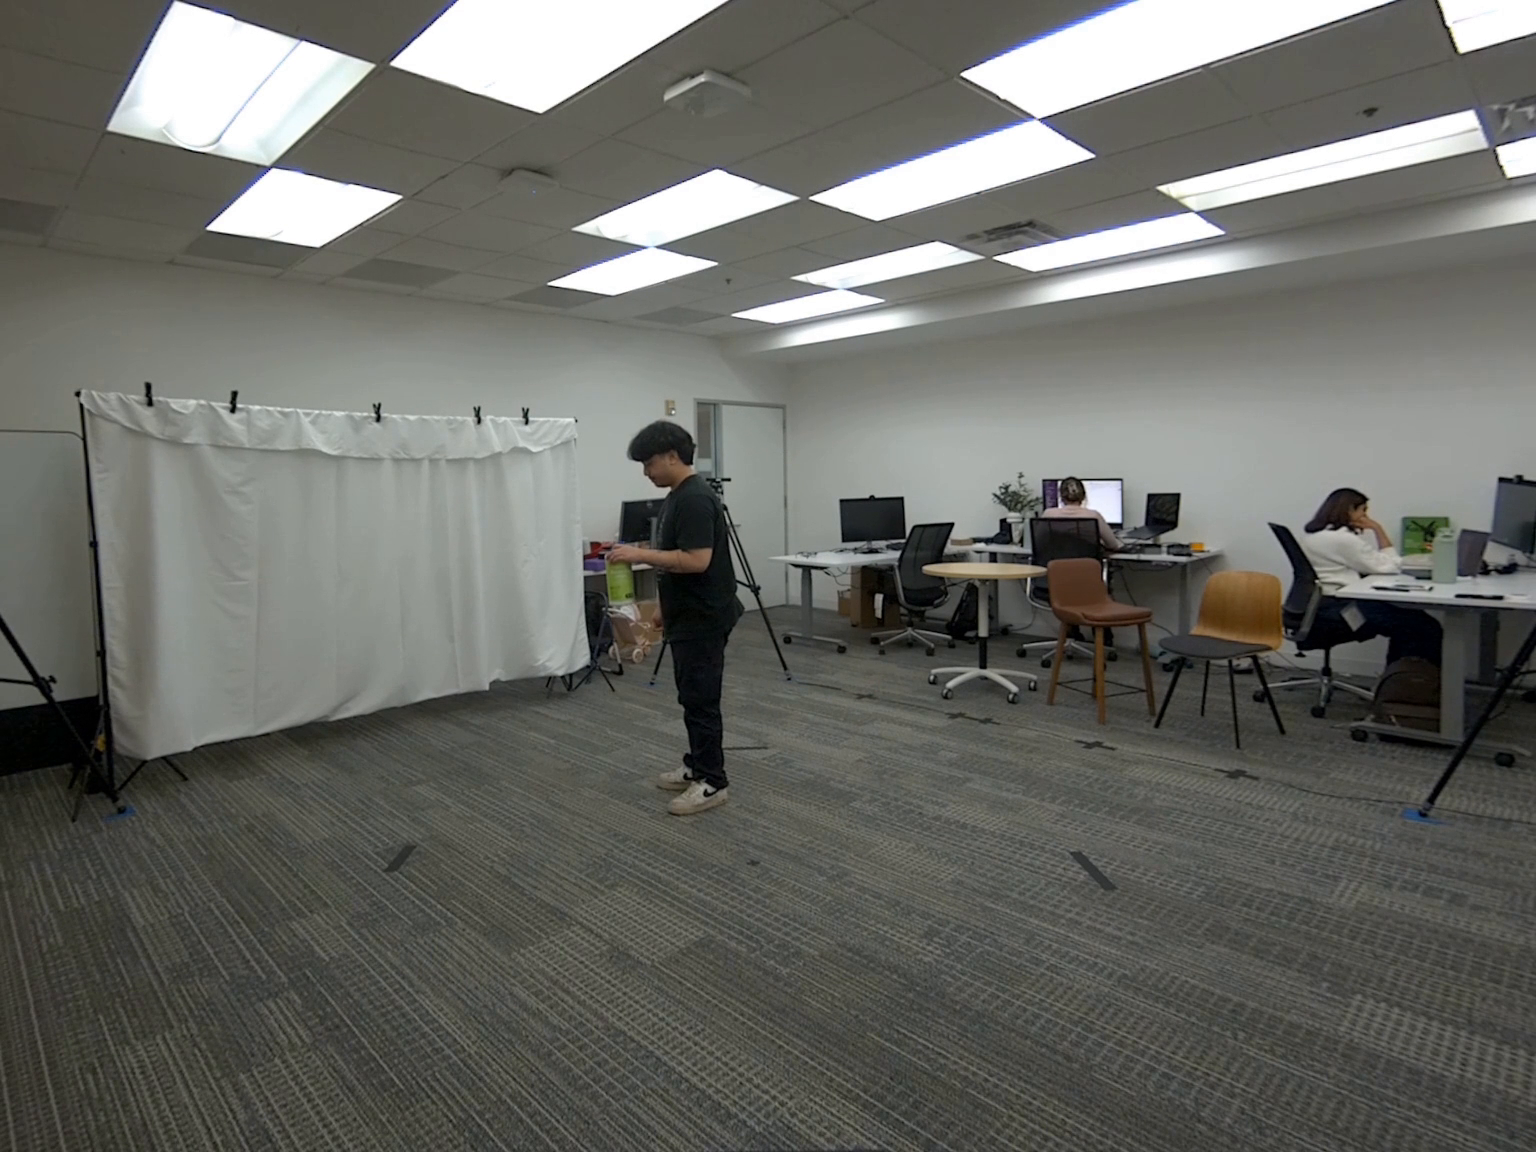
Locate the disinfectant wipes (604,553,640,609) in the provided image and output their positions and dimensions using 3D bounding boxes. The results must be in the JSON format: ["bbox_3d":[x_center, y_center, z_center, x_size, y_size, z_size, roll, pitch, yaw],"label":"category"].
[{"bbox_3d":[-0.614,0.013,3.589,0.118,0.216,0.118,-4,4,-1],"label":"disinfectant wipes"}]
